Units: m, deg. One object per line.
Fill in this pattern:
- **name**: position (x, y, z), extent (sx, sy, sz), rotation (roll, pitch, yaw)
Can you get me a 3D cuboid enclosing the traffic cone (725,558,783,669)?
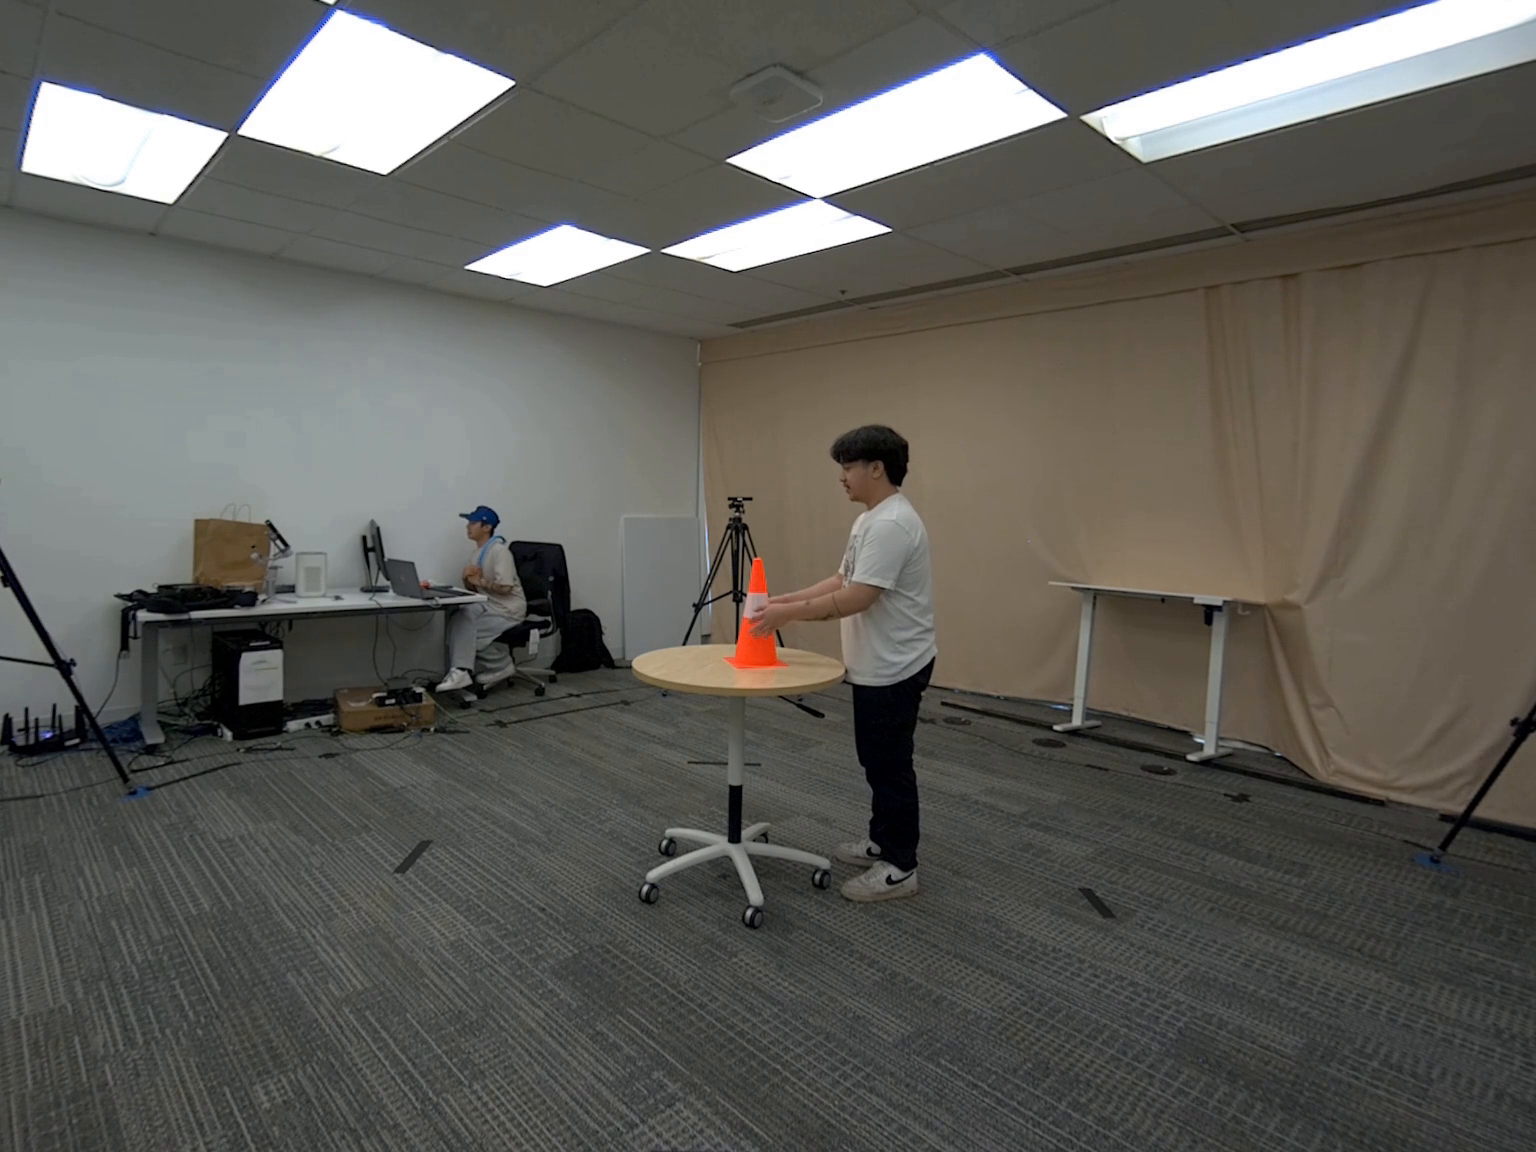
- **traffic cone**: position (-0.038, 0.131, 3.057), extent (0.200, 0.382, 0.209), rotation (-1, 6, -23)
